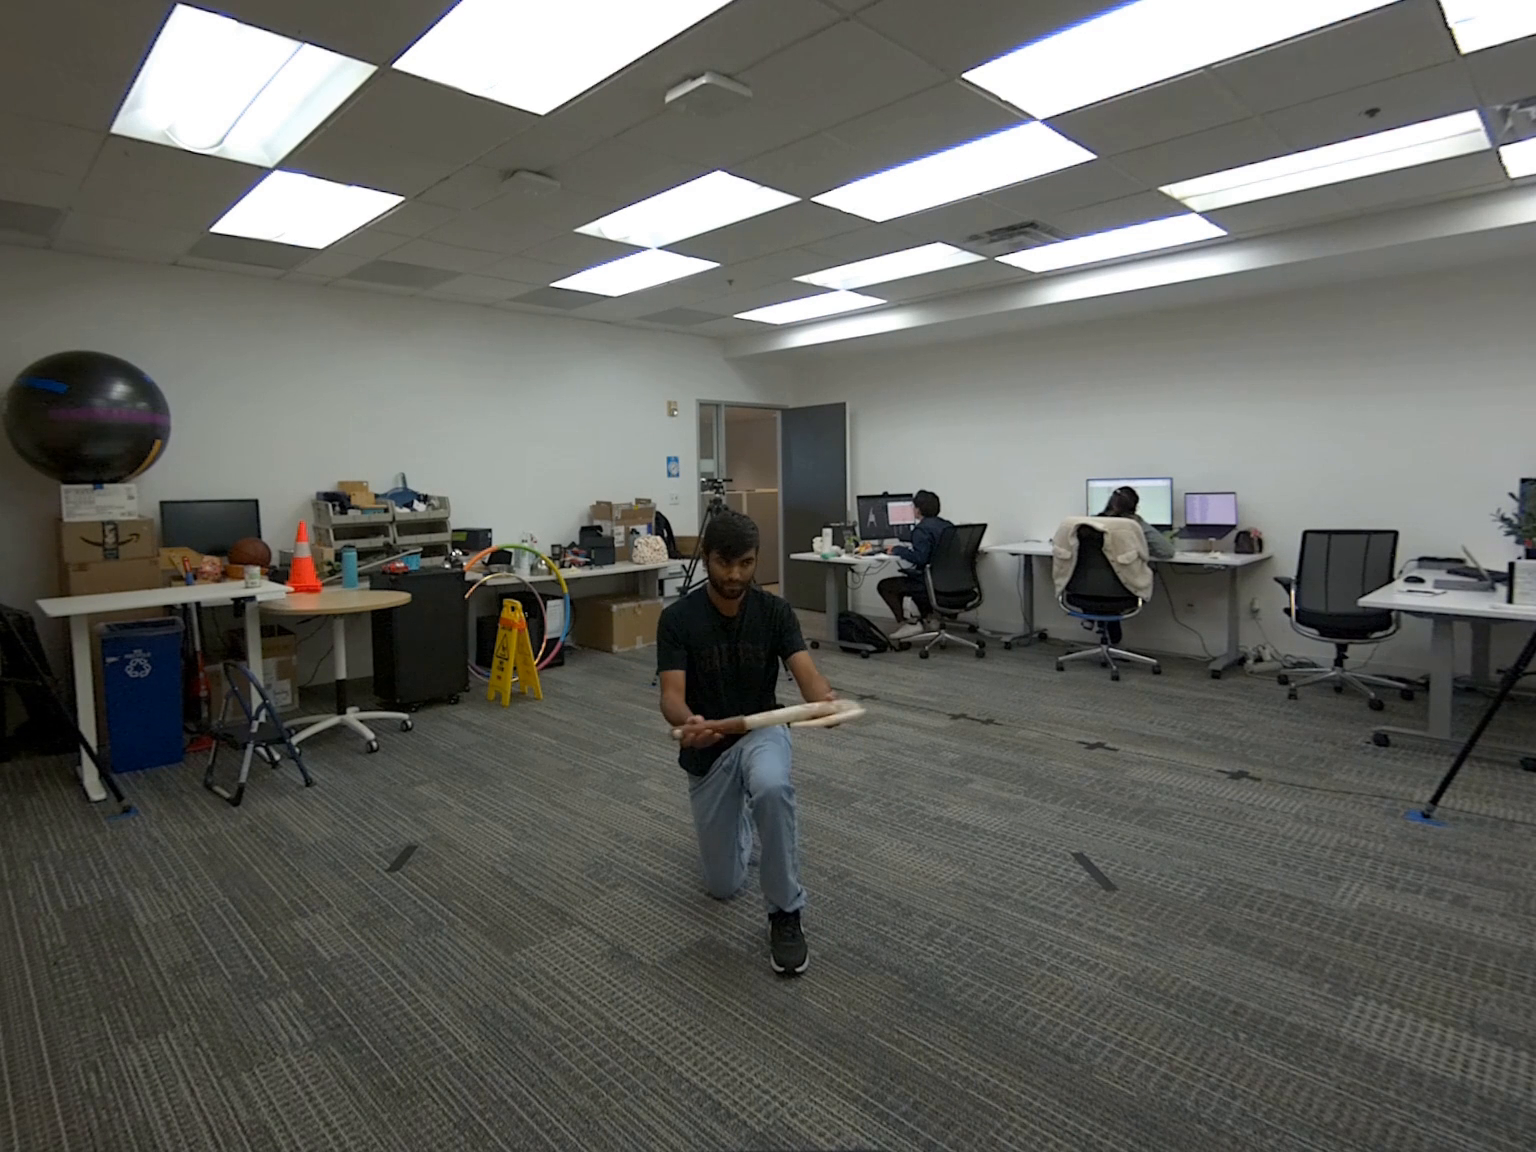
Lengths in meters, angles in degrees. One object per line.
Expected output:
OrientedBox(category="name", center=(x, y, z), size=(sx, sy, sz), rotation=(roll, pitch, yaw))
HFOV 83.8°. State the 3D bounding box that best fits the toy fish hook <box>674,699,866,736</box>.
OrientedBox(category="toy fish hook", center=(-0.022, 0.376, 2.249), size=(0.506, 0.048, 0.223), rotation=(-10, -4, -1))
